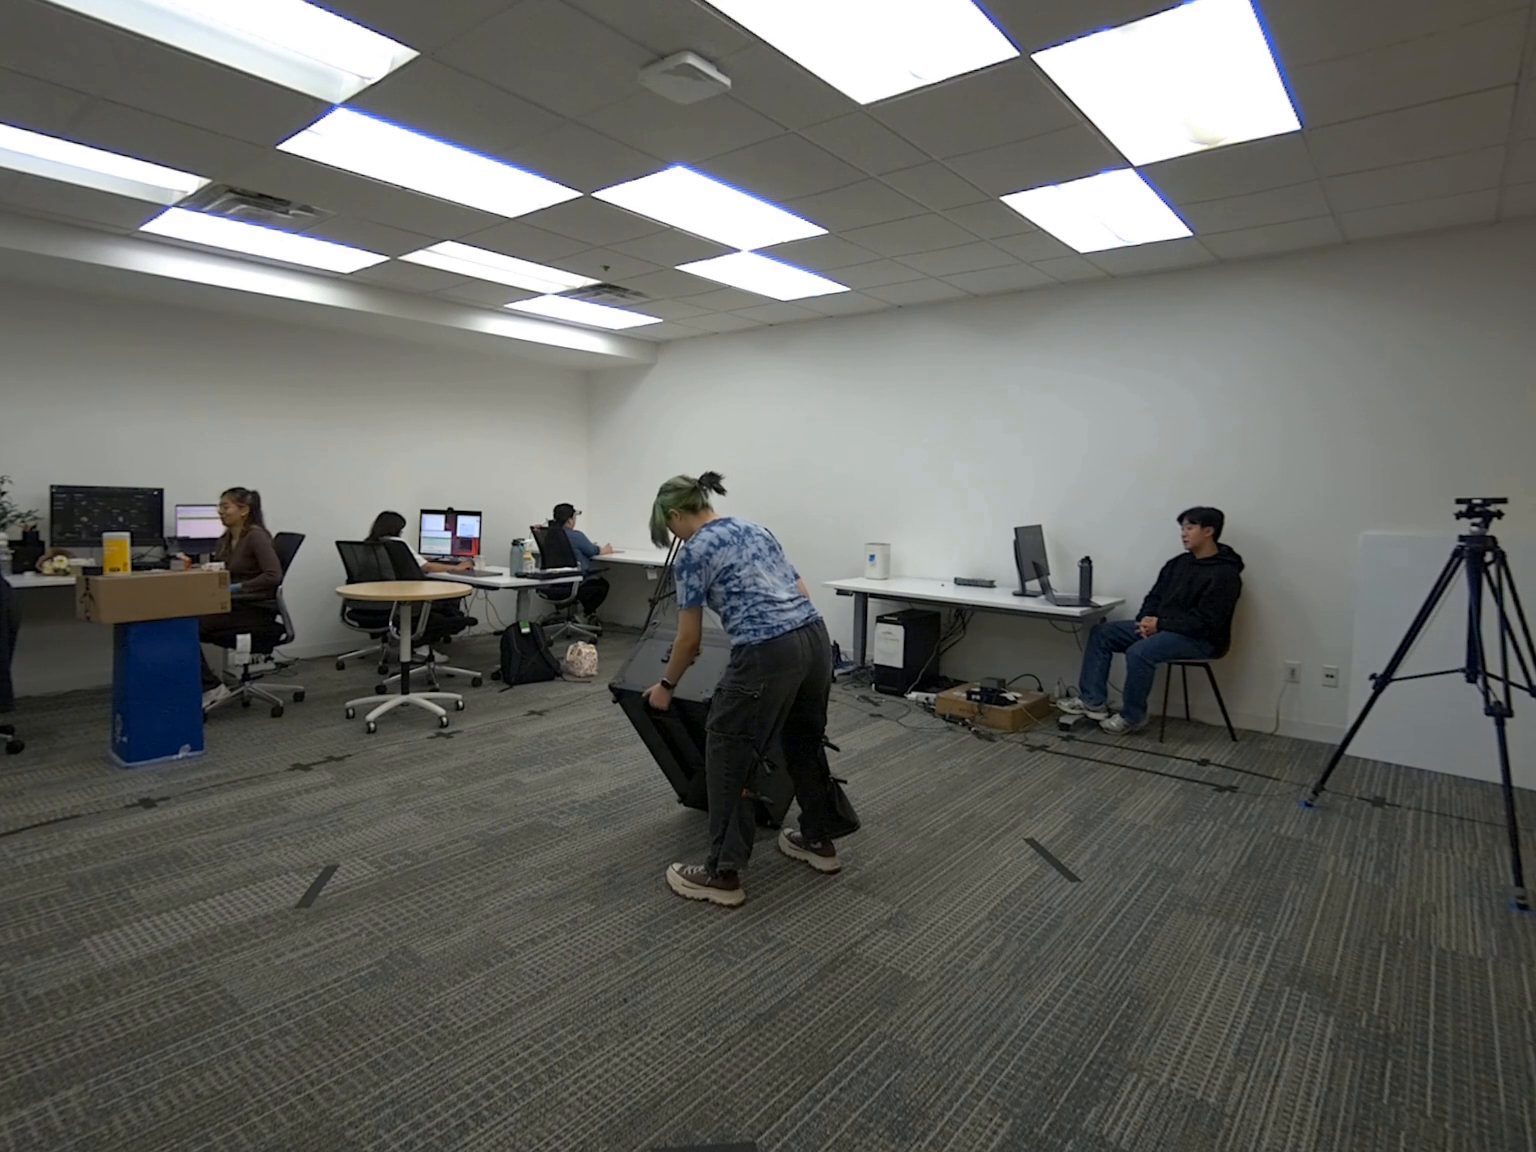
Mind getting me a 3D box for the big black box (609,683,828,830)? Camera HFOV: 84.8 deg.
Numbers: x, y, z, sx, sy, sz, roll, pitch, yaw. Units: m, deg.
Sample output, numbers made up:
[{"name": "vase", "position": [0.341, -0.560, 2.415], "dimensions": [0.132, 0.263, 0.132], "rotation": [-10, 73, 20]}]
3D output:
[{"name": "big black box", "position": [-0.220, 0.631, 3.455], "dimensions": [0.537, 0.830, 0.398], "rotation": [2, 43, 34]}]
